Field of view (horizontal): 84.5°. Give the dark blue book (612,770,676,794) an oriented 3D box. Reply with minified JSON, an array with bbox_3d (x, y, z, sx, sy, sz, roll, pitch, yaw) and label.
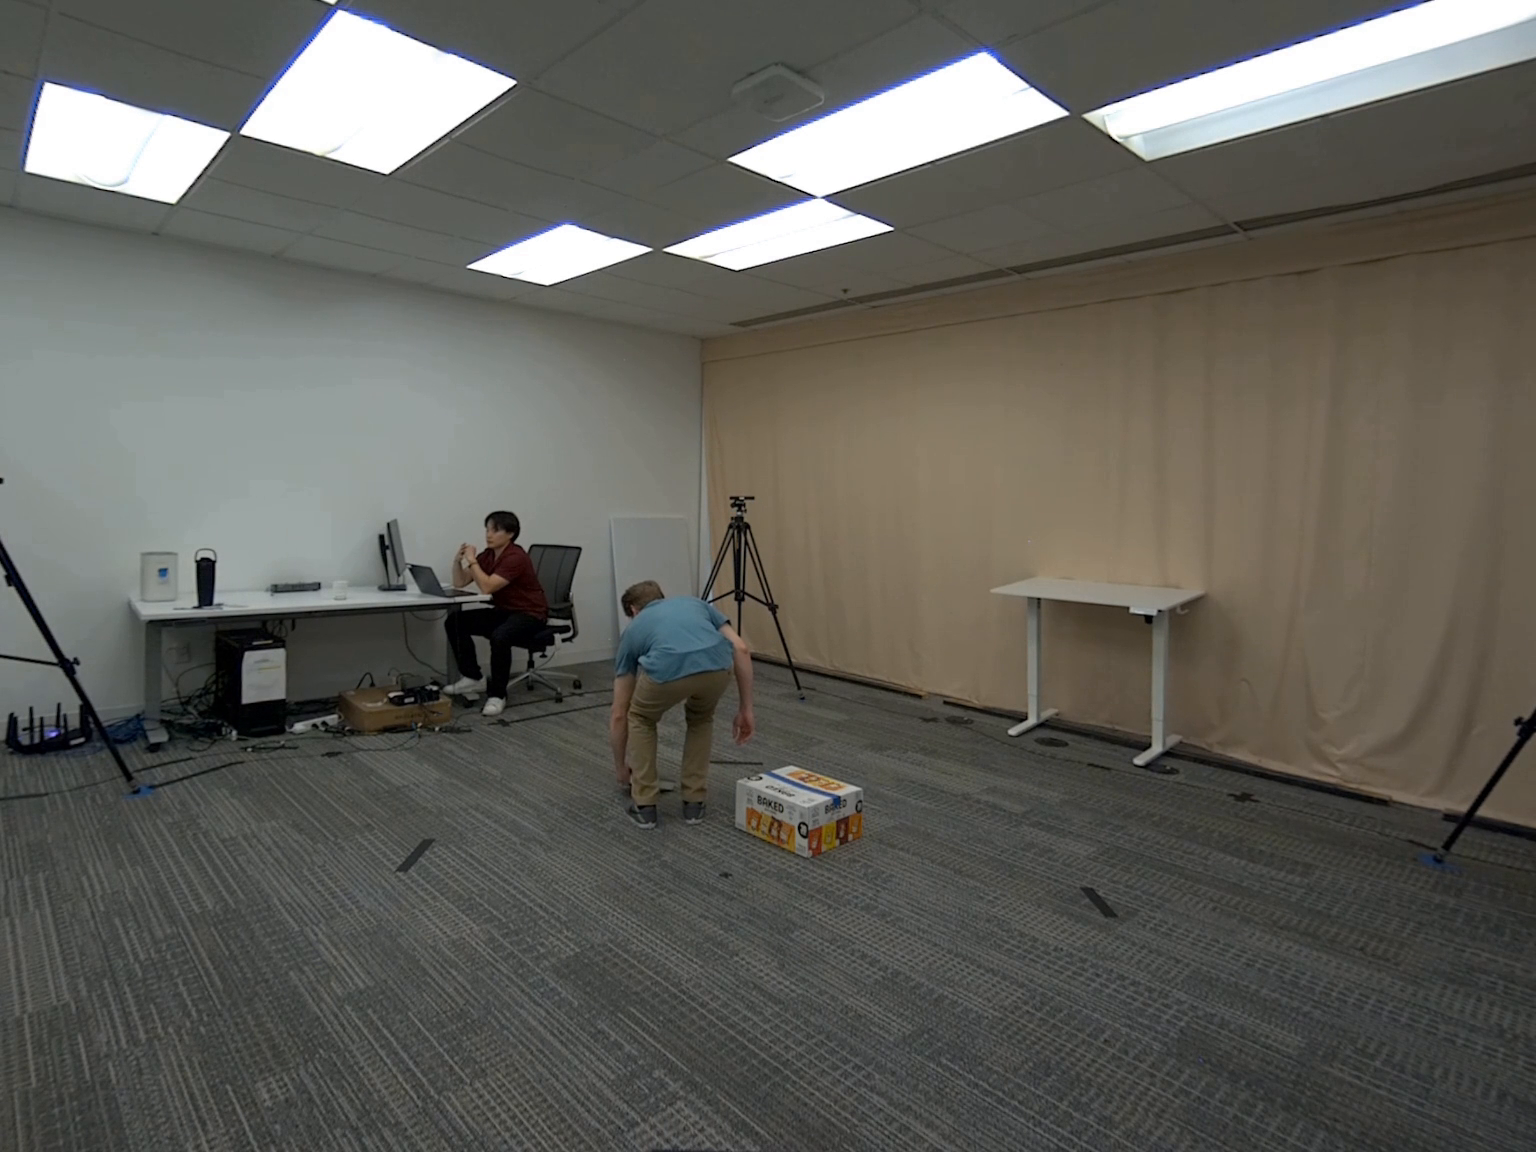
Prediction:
[{"bbox_3d":[-0.584,0.964,3.987,0.238,0.045,0.167,21,-9,-40],"label":"dark blue book"}]
